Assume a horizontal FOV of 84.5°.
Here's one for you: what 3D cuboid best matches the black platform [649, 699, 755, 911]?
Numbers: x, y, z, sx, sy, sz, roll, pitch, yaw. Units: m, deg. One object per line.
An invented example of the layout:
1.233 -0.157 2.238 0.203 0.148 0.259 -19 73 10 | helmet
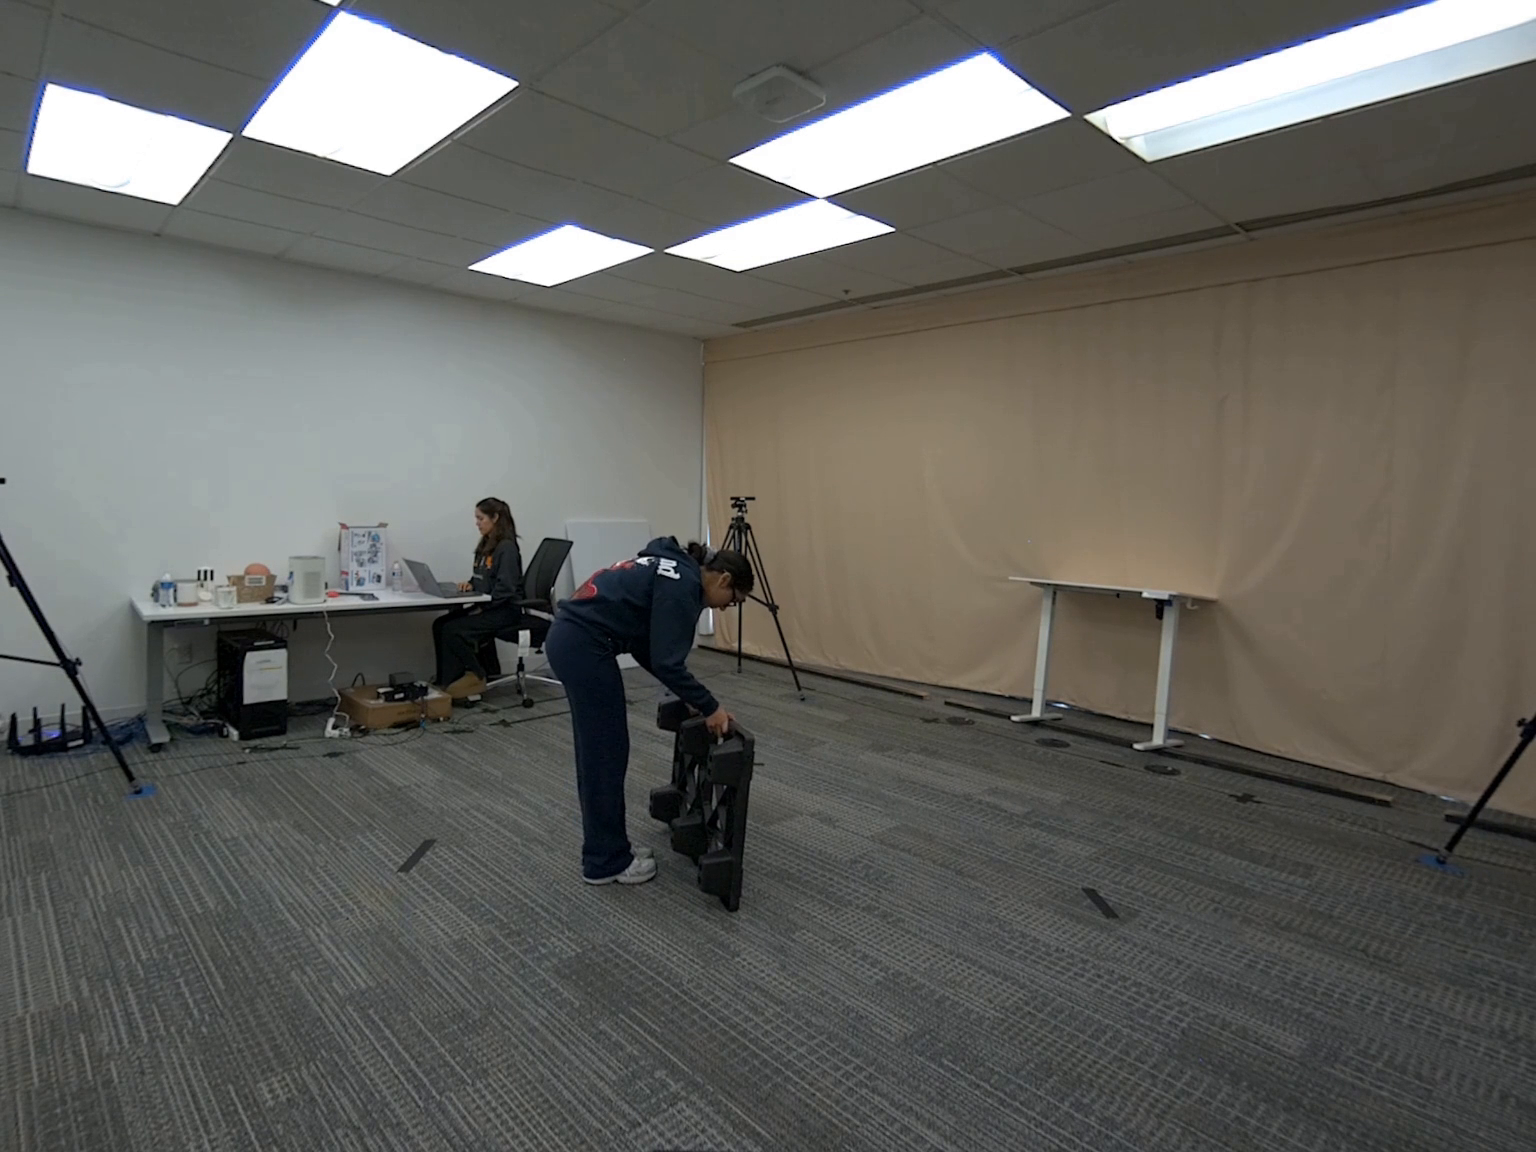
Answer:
-0.285 0.795 3.181 0.141 0.604 0.820 5 2 -22 | black platform
